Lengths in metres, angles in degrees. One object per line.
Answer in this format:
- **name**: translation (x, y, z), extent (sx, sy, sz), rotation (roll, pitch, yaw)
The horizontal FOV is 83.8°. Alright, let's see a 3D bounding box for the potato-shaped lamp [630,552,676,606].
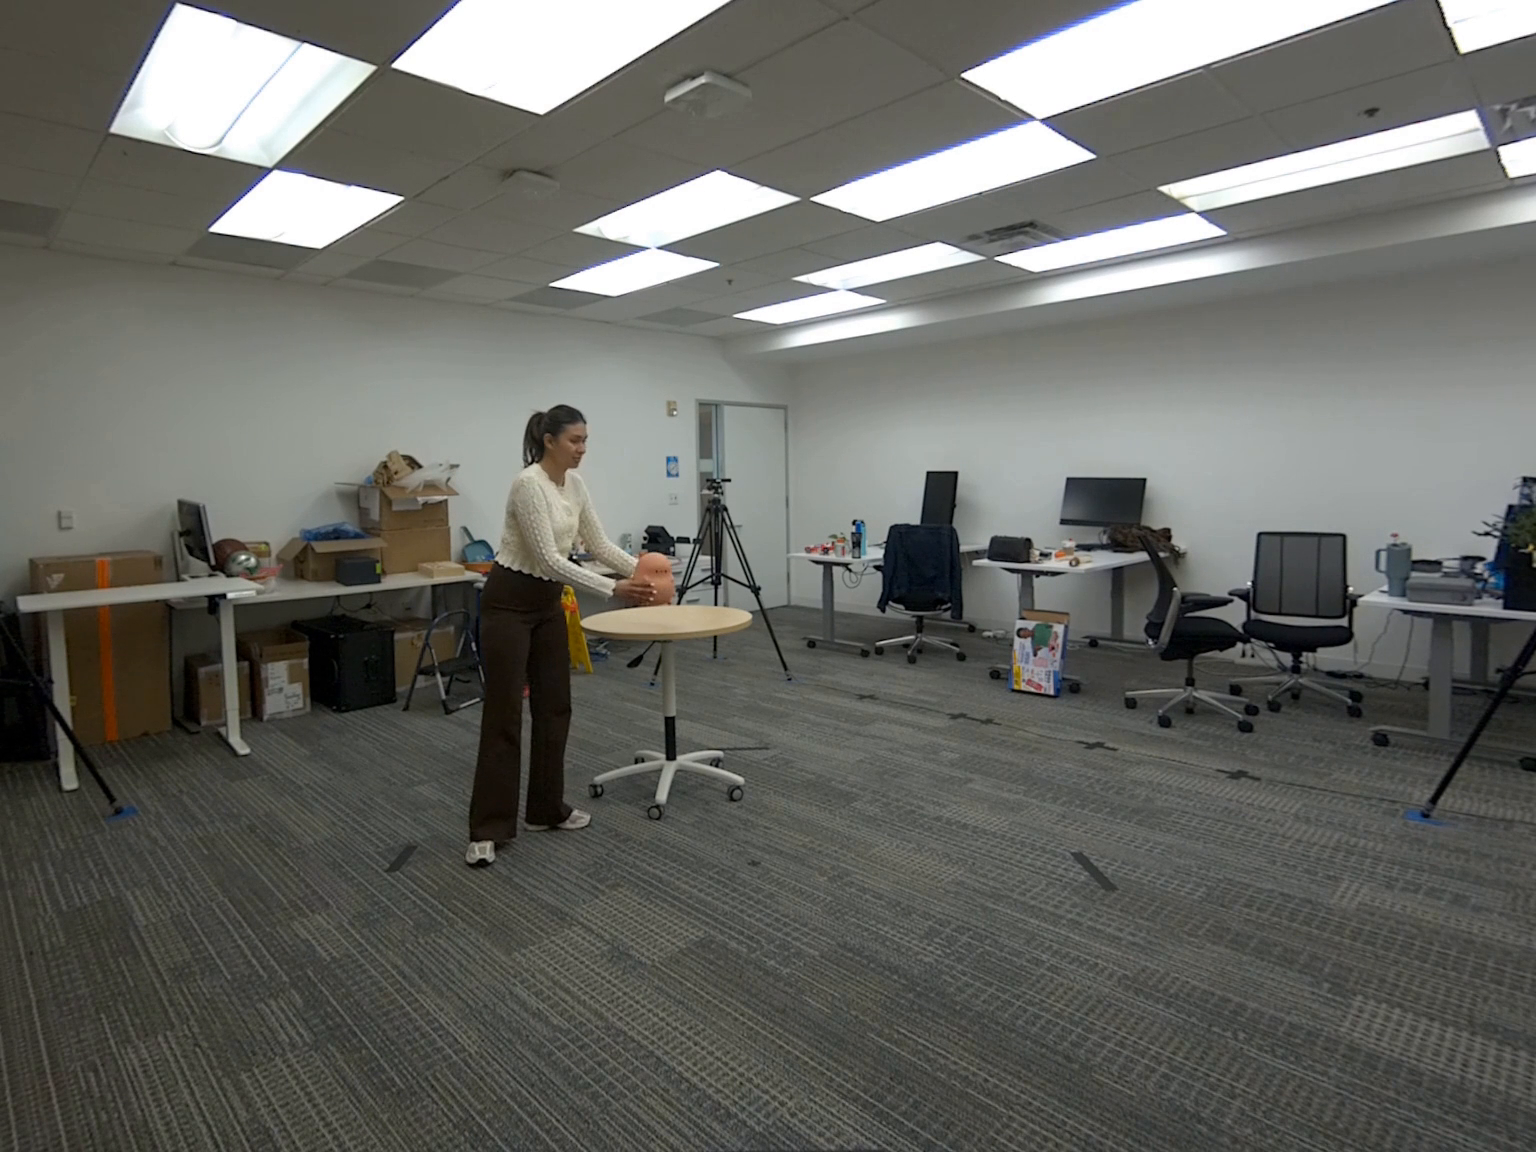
- **potato-shaped lamp**: translation (-0.464, 0.012, 3.379), extent (0.161, 0.196, 0.177), rotation (0, 14, -28)
